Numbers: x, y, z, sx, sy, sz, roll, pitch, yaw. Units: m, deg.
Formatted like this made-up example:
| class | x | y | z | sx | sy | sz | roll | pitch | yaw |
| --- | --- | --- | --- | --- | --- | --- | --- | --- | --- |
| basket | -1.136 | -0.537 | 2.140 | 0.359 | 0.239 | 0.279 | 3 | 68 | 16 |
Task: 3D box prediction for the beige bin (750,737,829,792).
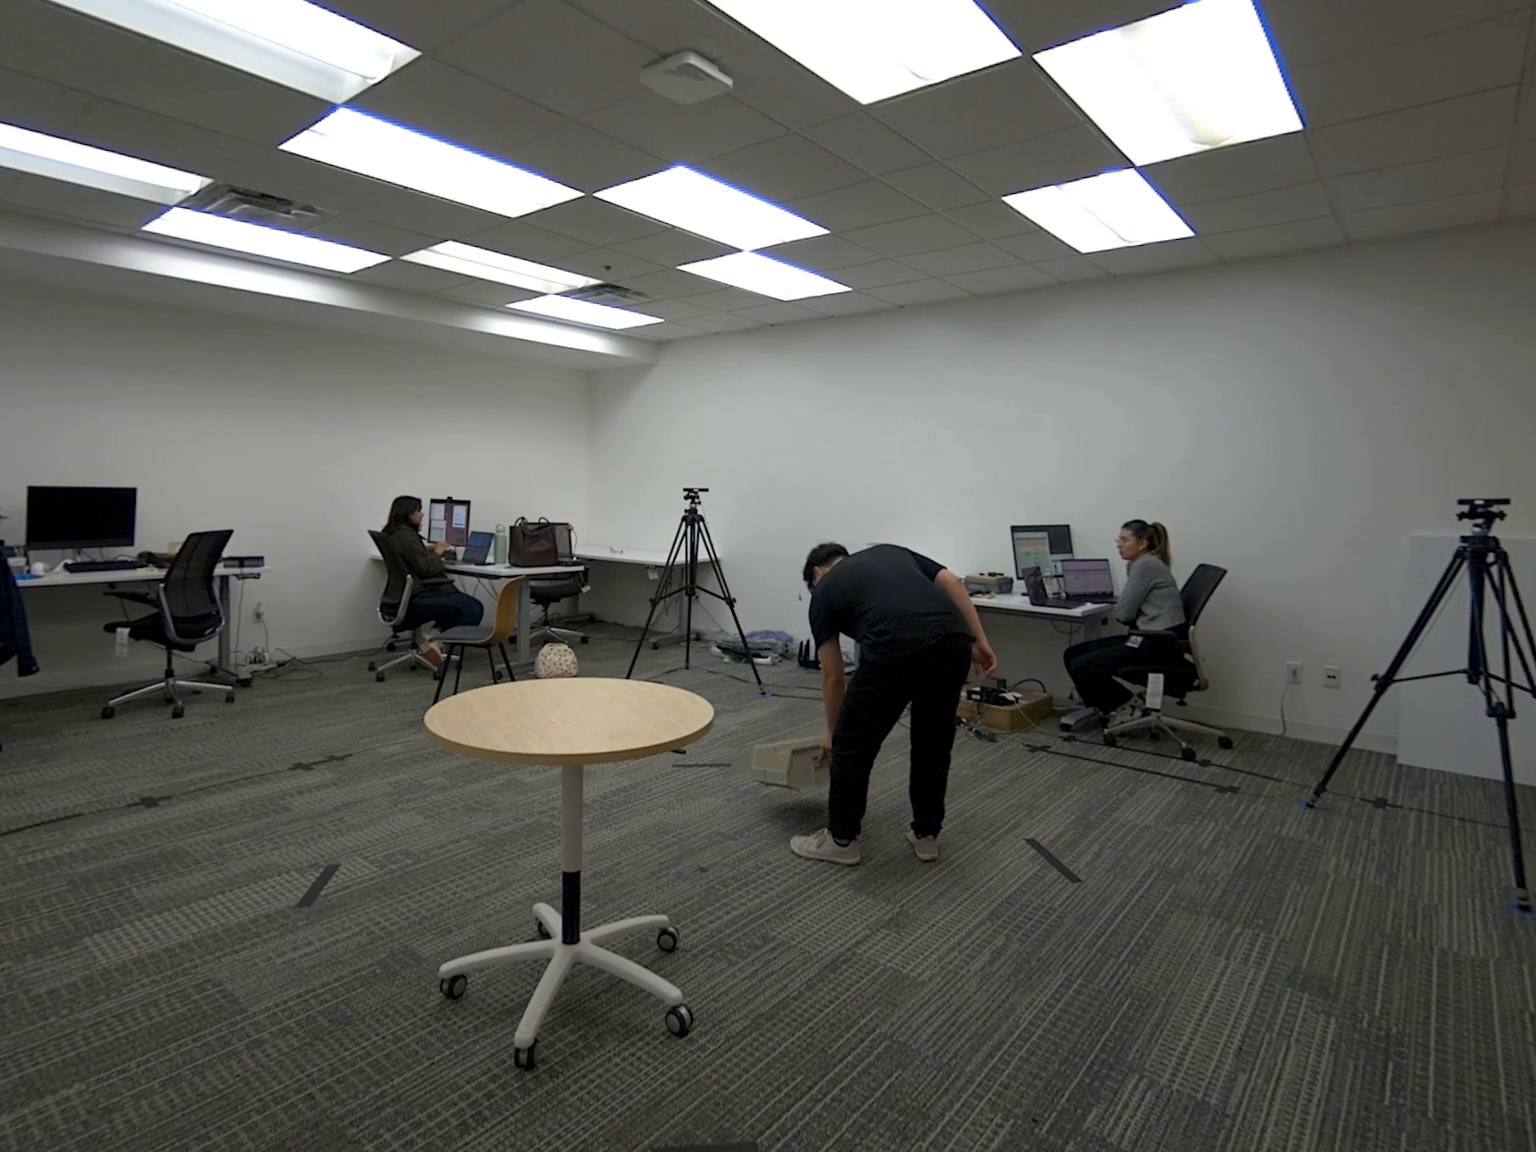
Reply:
| class | x | y | z | sx | sy | sz | roll | pitch | yaw |
| --- | --- | --- | --- | --- | --- | --- | --- | --- | --- |
| beige bin | 0.155 | 0.790 | 3.641 | 0.370 | 0.191 | 0.426 | -3 | -9 | -21 |
